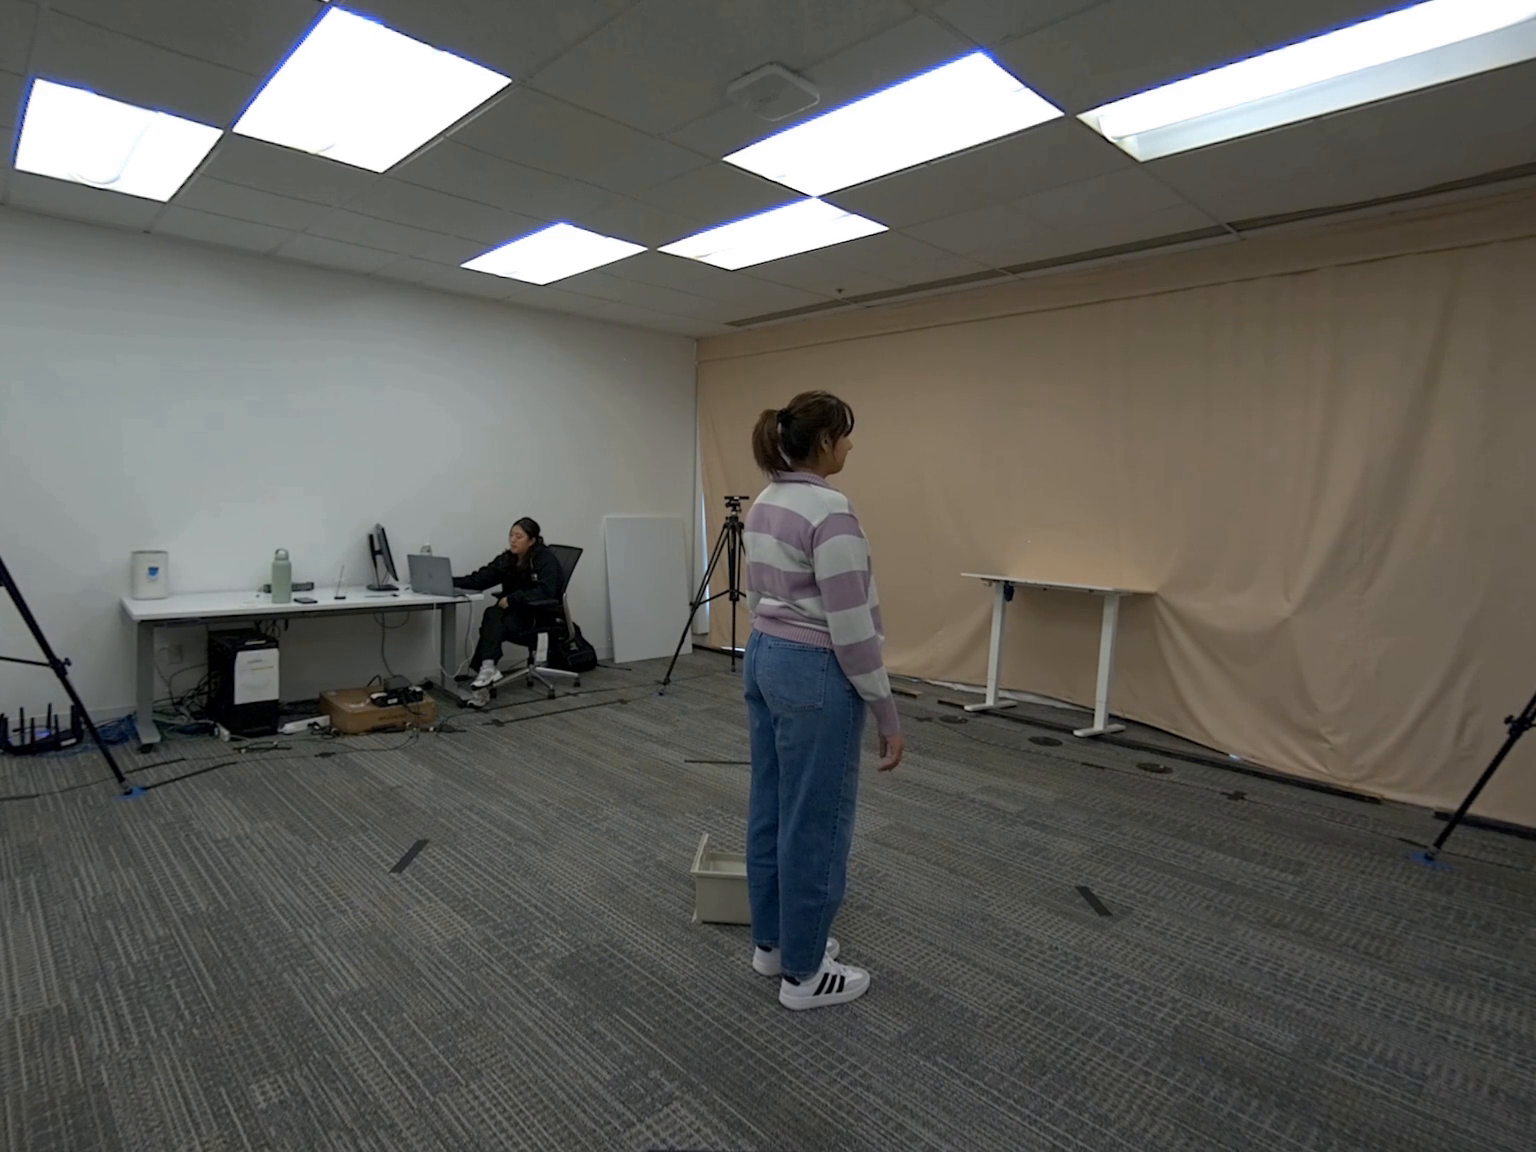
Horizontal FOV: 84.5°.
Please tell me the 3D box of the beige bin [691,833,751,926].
[{"bbox_3d":[-0.036,1.033,2.893,0.424,0.188,0.377,2,6,4],"label":"beige bin"}]
